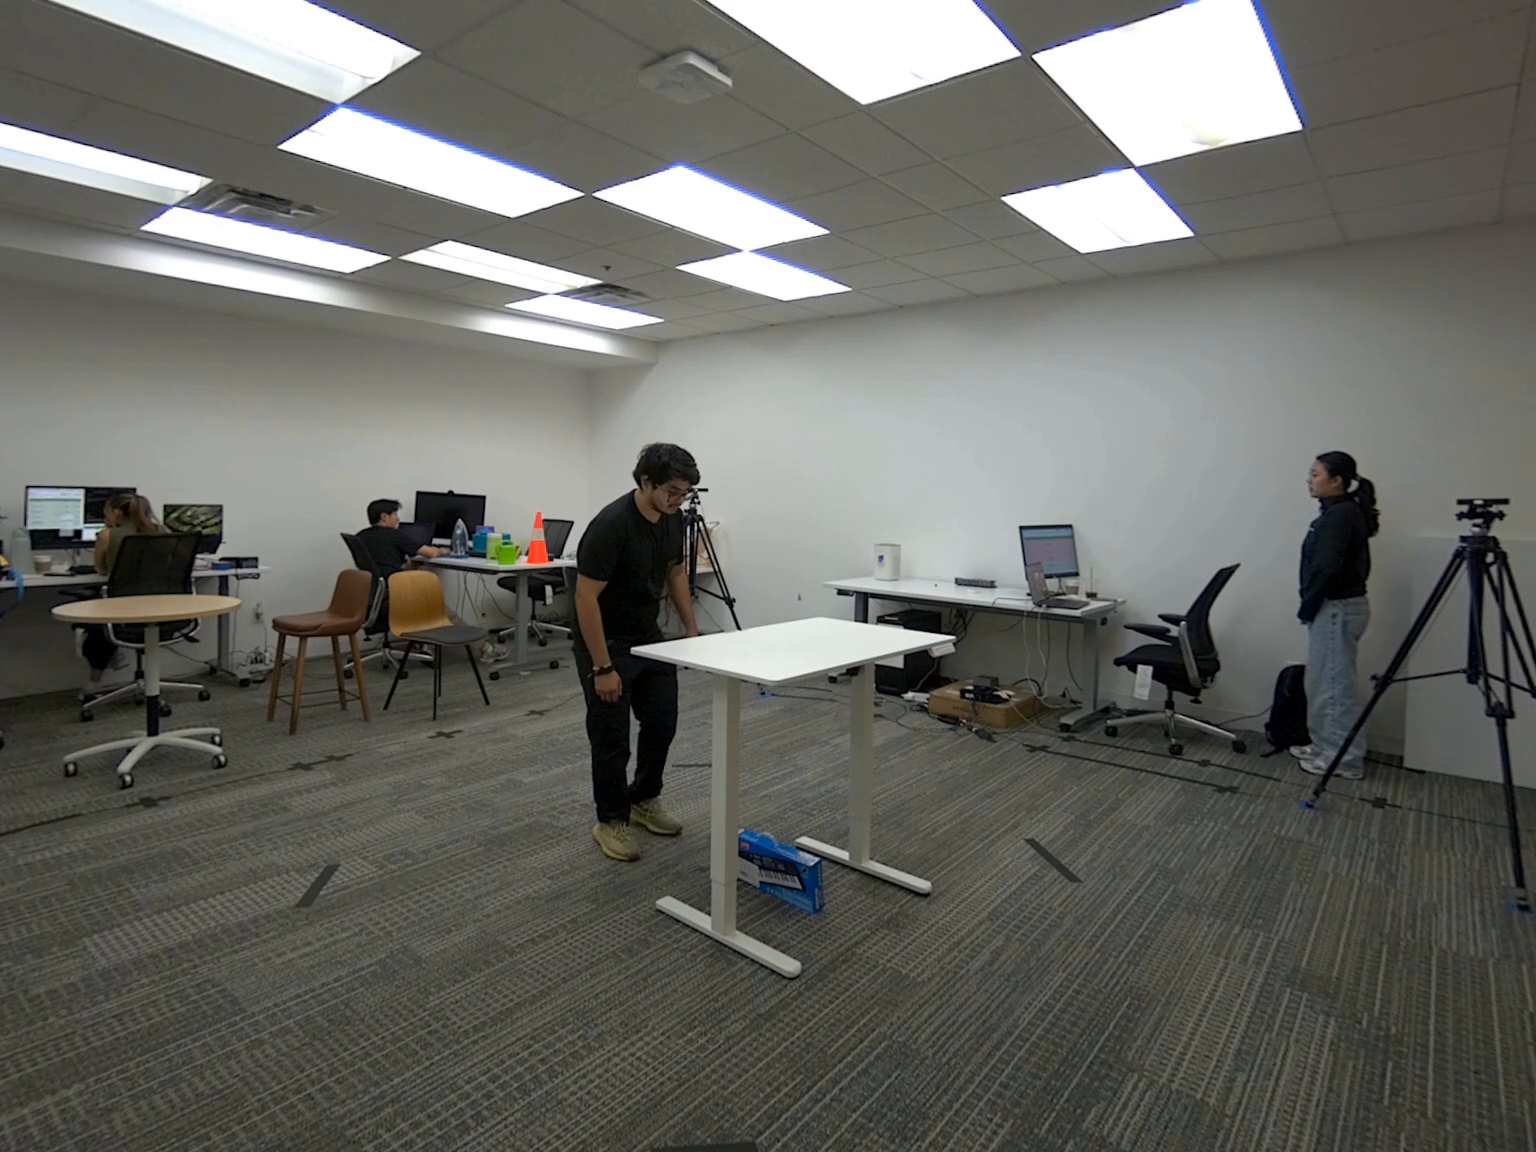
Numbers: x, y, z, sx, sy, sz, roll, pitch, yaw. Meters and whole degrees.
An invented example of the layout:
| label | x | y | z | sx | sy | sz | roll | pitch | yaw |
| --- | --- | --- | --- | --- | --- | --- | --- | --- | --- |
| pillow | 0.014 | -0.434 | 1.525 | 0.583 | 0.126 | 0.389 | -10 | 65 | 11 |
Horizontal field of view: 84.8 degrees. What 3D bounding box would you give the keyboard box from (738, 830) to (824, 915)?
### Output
| label | x | y | z | sx | sy | sz | roll | pitch | yaw |
| --- | --- | --- | --- | --- | --- | --- | --- | --- | --- |
| keyboard box | -0.006 | 1.002 | 2.950 | 0.452 | 0.174 | 0.057 | 6 | 12 | 43 |
